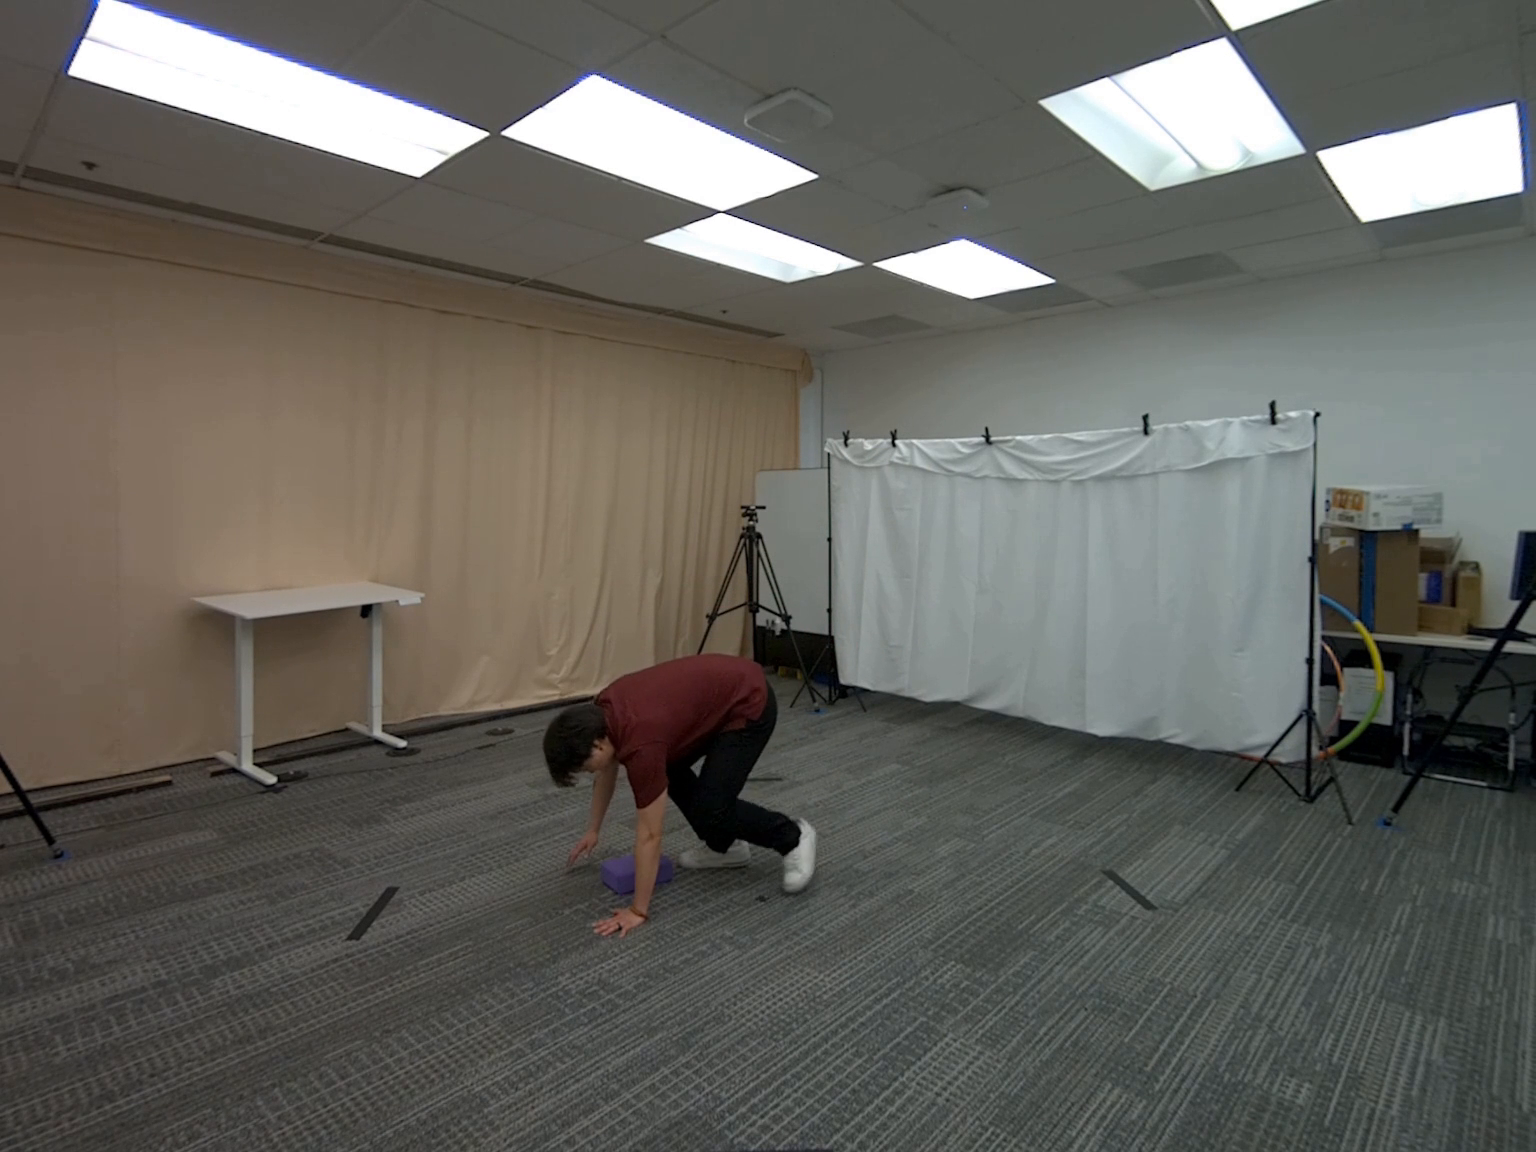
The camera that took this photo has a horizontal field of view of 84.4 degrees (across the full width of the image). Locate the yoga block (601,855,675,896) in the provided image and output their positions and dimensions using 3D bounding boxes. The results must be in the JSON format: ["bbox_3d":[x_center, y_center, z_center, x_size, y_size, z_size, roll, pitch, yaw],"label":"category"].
[{"bbox_3d":[-0.483,1.093,3.135,0.223,0.076,0.154,-5,6,-36],"label":"yoga block"}]
